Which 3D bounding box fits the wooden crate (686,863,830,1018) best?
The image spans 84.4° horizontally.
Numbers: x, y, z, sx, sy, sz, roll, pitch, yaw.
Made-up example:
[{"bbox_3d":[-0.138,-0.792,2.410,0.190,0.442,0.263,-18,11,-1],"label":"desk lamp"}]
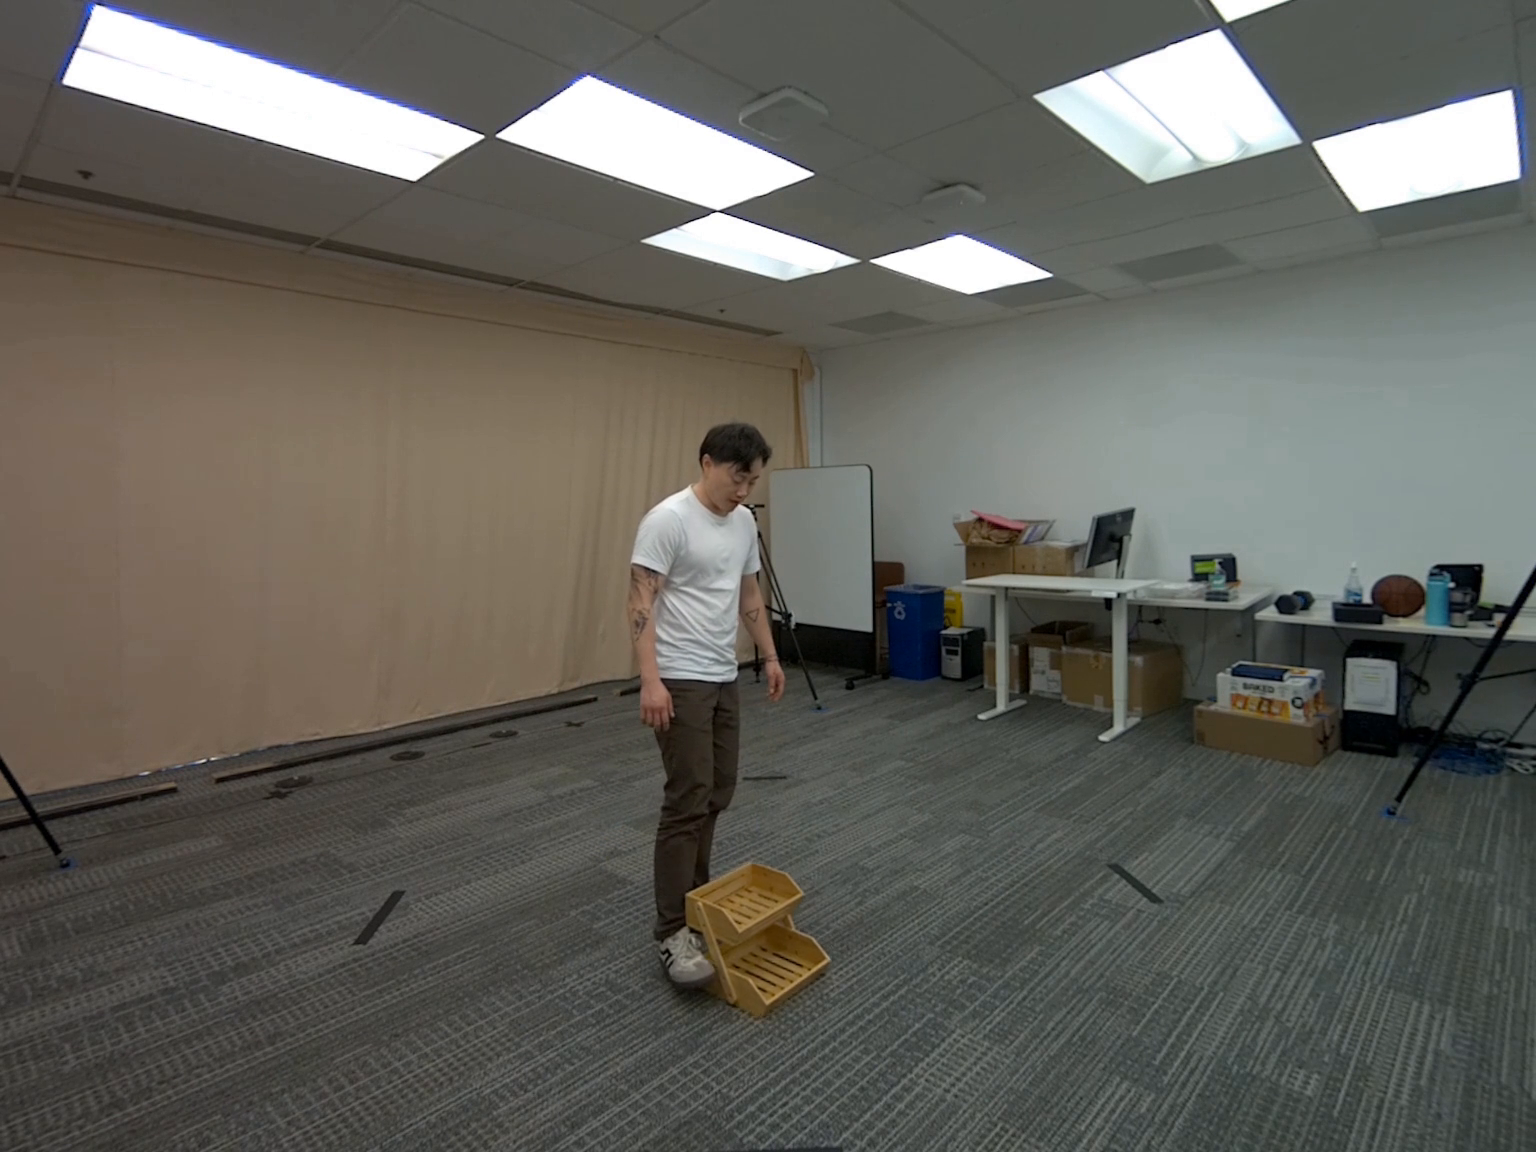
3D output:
[{"bbox_3d":[-0.019,1.051,2.467,0.312,0.273,0.315,1,5,40],"label":"wooden crate"}]
